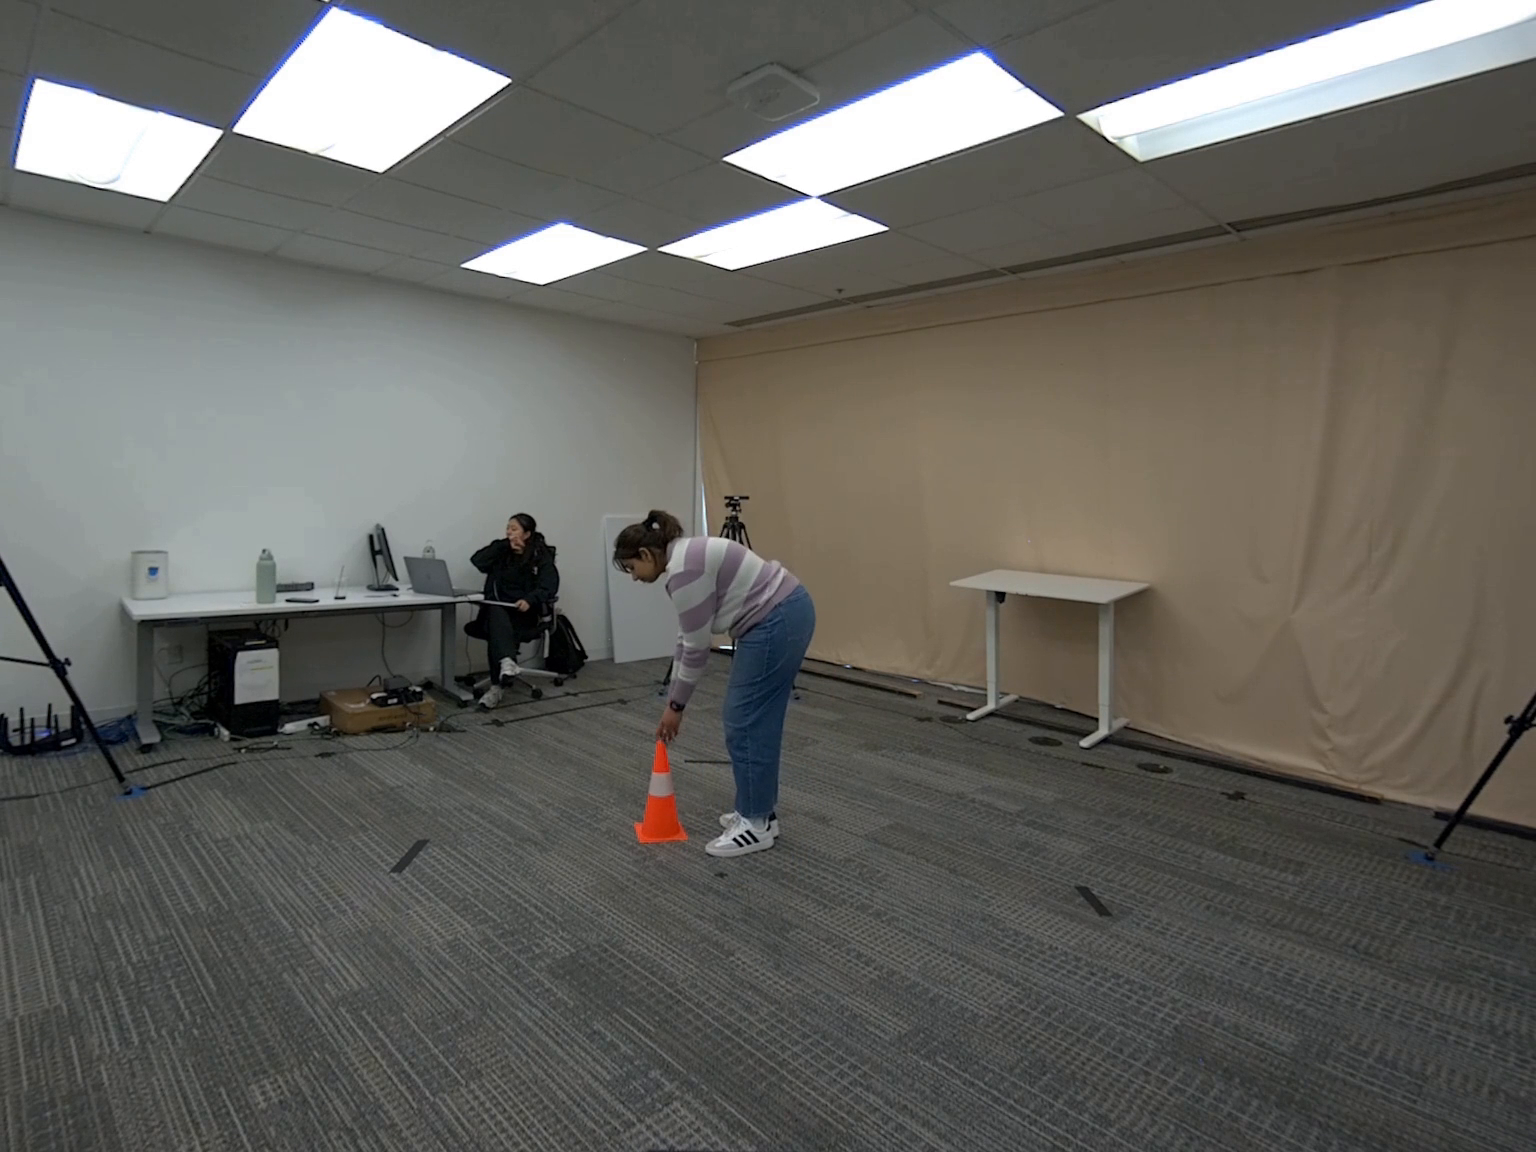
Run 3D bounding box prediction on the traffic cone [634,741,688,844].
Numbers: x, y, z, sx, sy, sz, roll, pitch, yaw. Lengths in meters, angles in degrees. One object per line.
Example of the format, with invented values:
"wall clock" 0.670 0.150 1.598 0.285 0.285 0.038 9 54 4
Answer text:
"traffic cone" -0.447 0.874 3.476 0.201 0.382 0.208 -1 5 -15
